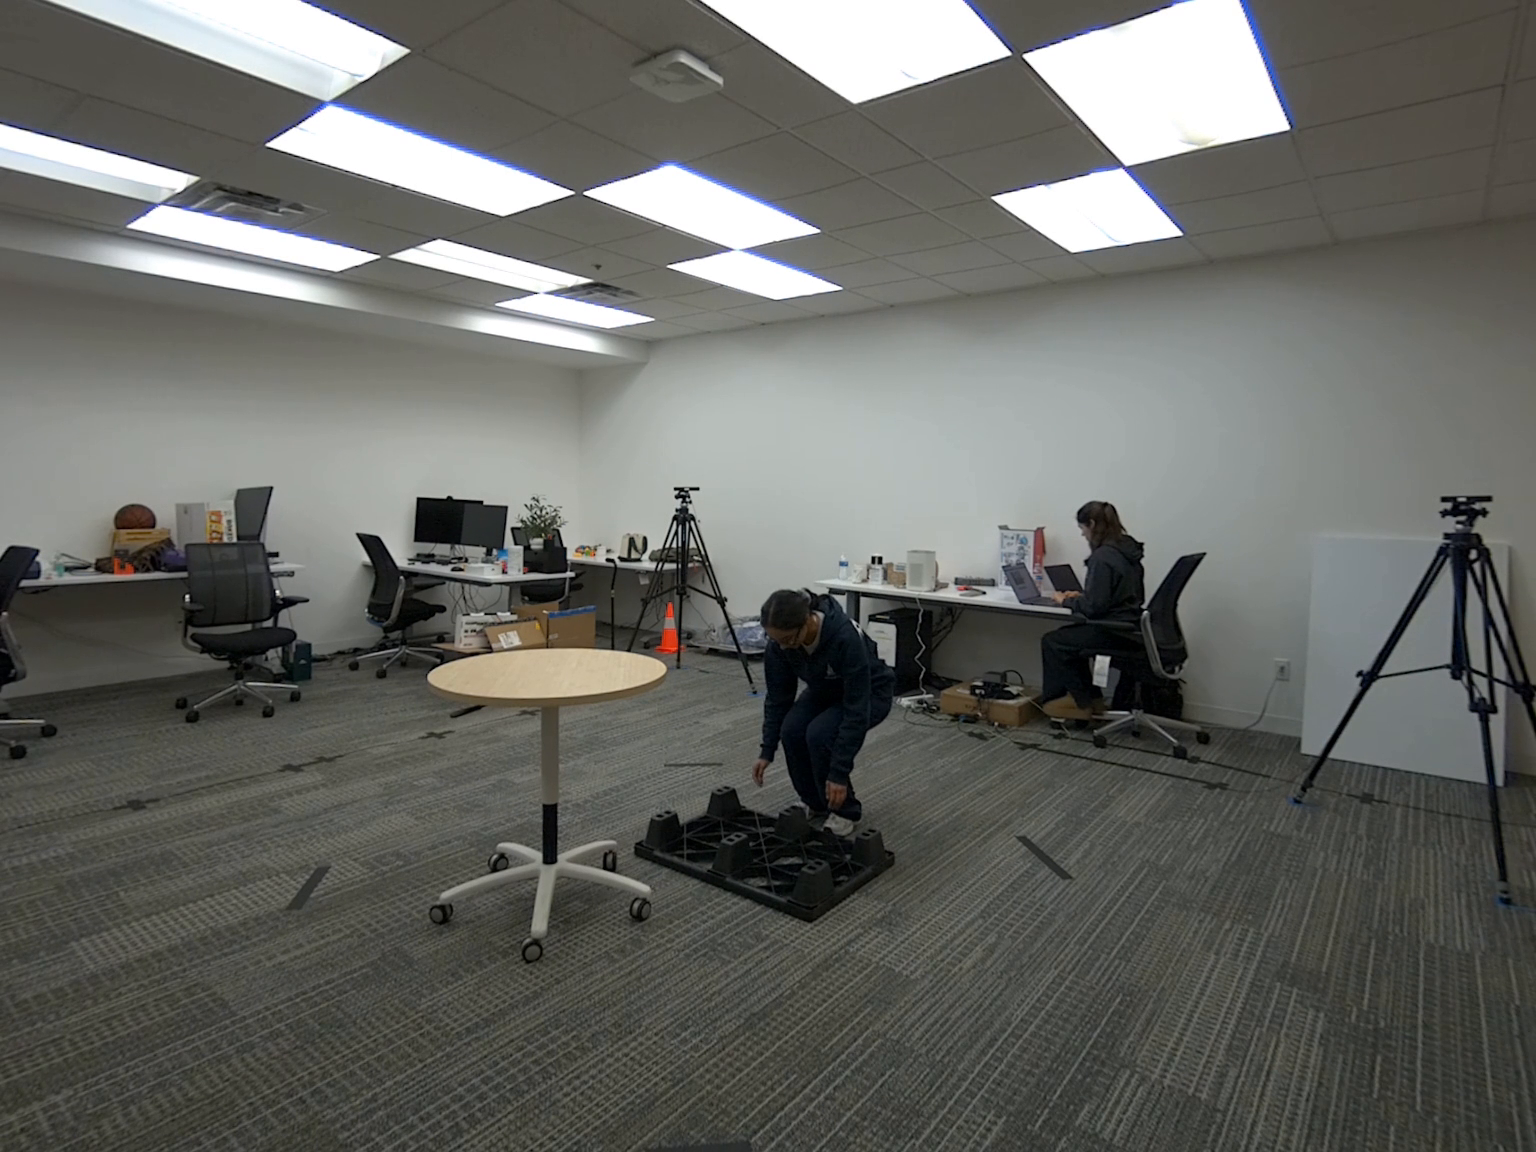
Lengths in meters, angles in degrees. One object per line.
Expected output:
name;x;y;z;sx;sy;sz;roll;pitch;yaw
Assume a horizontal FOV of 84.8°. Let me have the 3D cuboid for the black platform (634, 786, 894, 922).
black platform;-0.032;0.998;3.199;0.832;0.143;0.588;5;6;36
